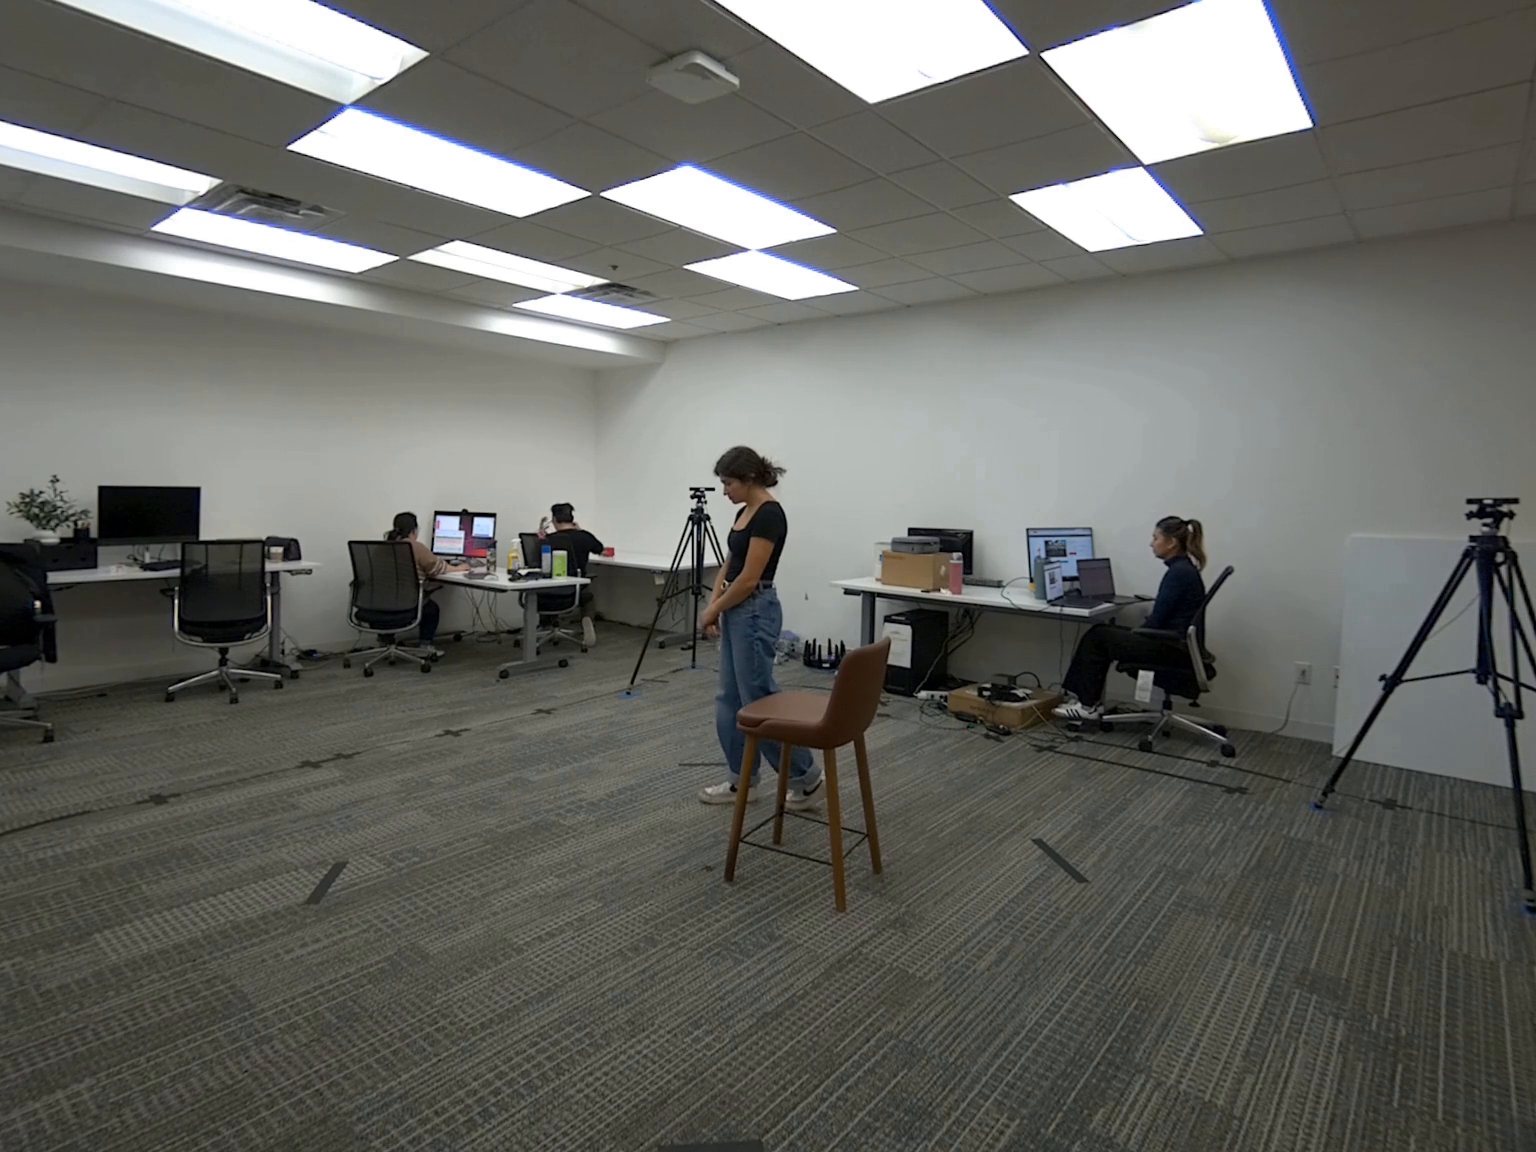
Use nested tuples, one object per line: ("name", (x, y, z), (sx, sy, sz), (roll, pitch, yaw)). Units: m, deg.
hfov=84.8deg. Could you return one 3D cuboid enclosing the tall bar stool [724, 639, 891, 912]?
("tall bar stool", (0.144, 0.644, 3.055), (0.482, 0.887, 0.444), (5, 5, 30))
